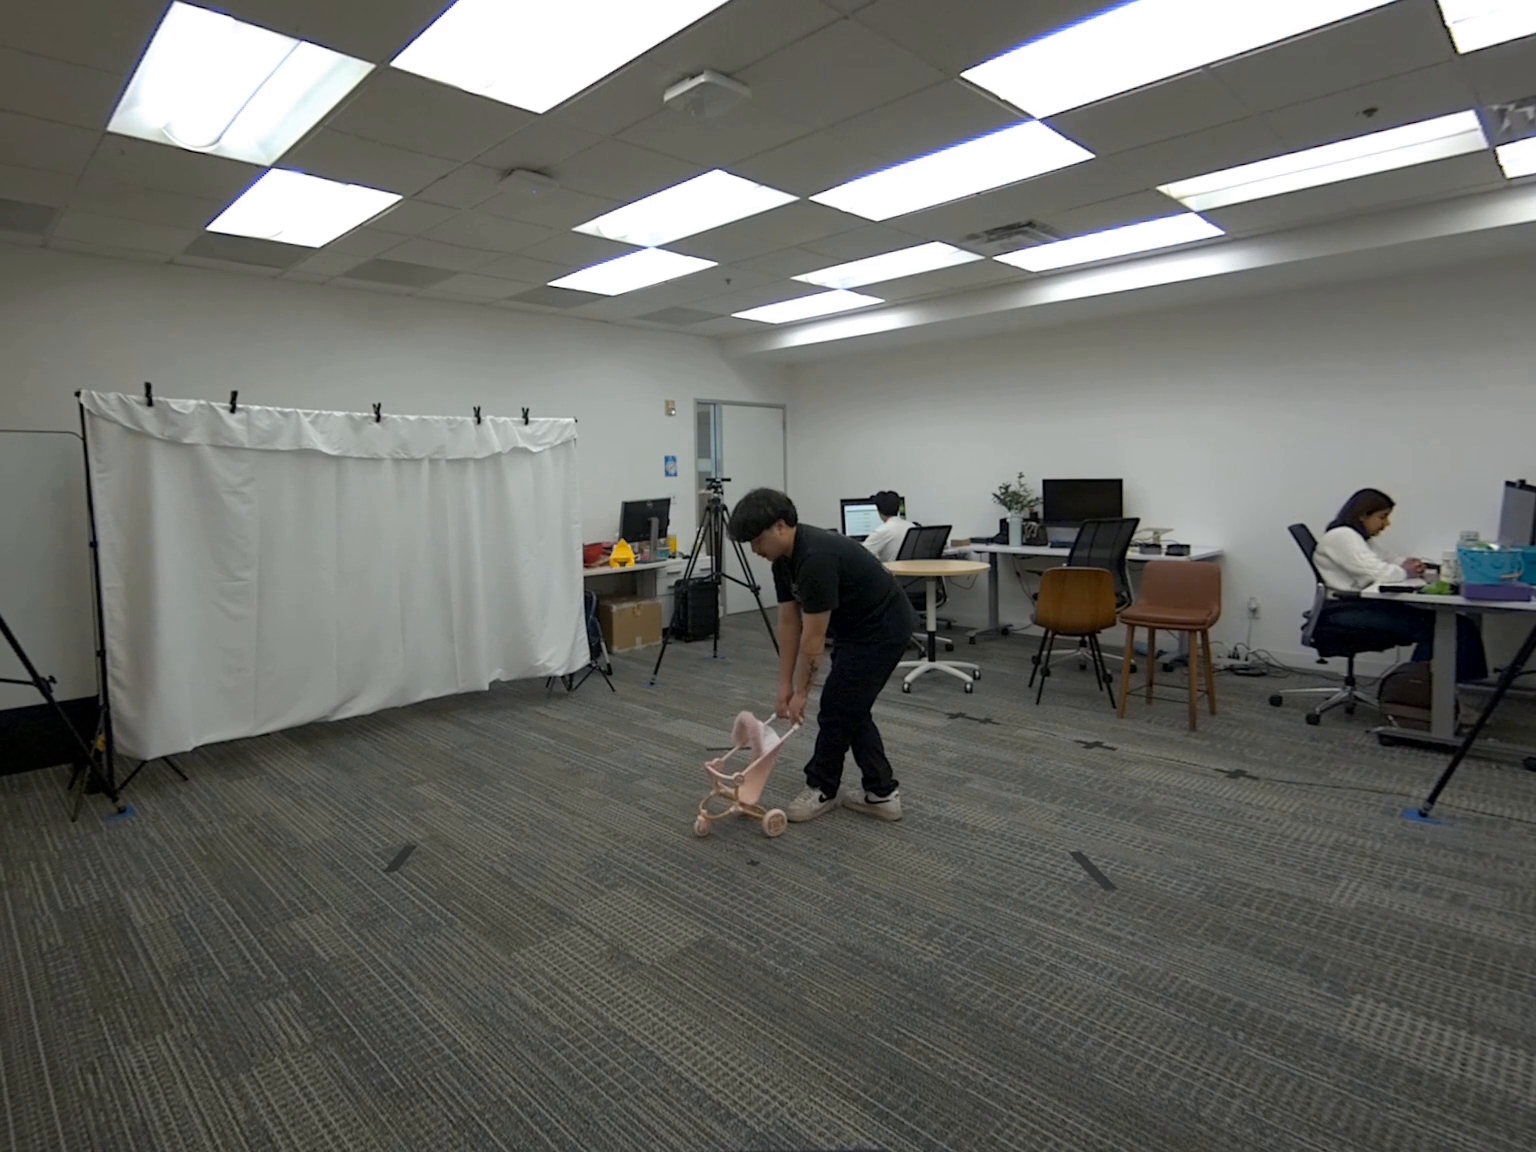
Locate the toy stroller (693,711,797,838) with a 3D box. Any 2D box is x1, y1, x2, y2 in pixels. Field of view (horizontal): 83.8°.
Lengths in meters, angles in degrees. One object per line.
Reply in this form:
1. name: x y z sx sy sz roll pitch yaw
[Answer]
1. toy stroller: -0.092 0.780 3.404 0.333 0.535 0.288 14 -1 -22
